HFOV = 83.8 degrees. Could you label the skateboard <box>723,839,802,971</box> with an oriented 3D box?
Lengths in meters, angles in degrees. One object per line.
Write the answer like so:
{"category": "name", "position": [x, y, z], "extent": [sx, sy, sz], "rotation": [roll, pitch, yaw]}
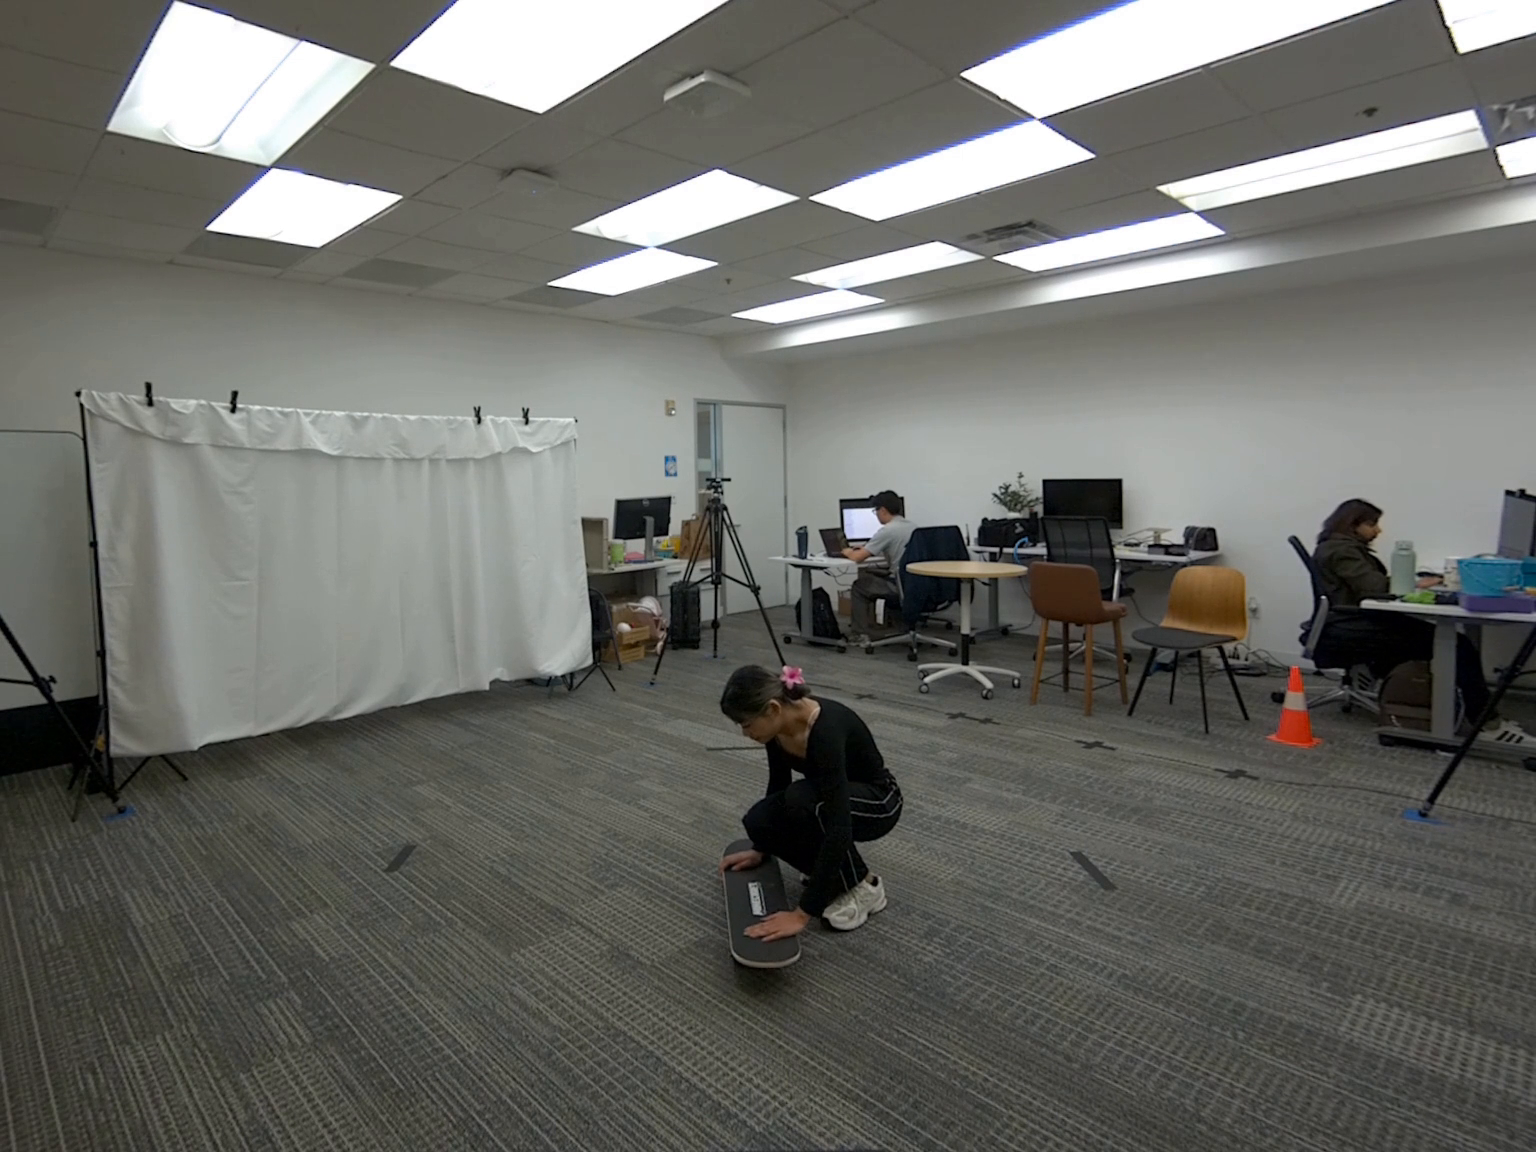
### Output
{"category": "skateboard", "position": [-0.028, 1.032, 2.671], "extent": [0.192, 0.110, 0.792], "rotation": [-1, 6, -6]}
